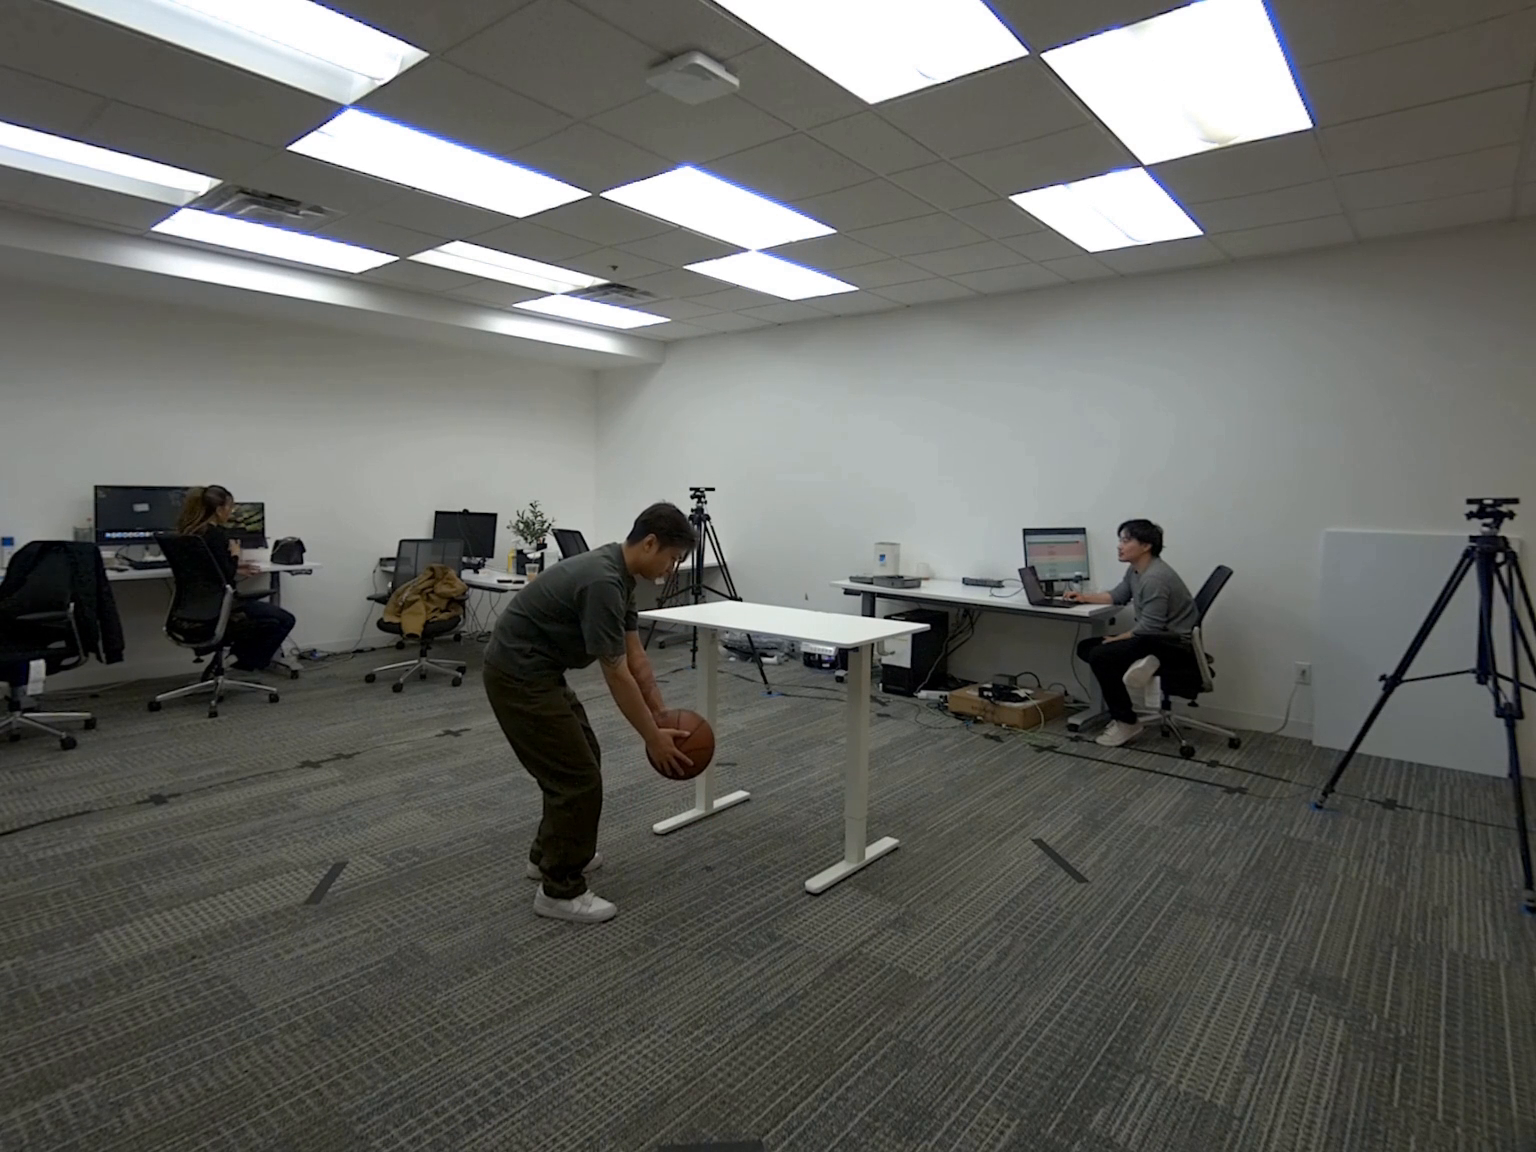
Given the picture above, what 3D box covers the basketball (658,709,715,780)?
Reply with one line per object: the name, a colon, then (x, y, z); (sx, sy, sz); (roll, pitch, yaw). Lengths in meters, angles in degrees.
basketball: (-0.307, 0.567, 2.915); (0.235, 0.235, 0.237); (1, 4, -2)
